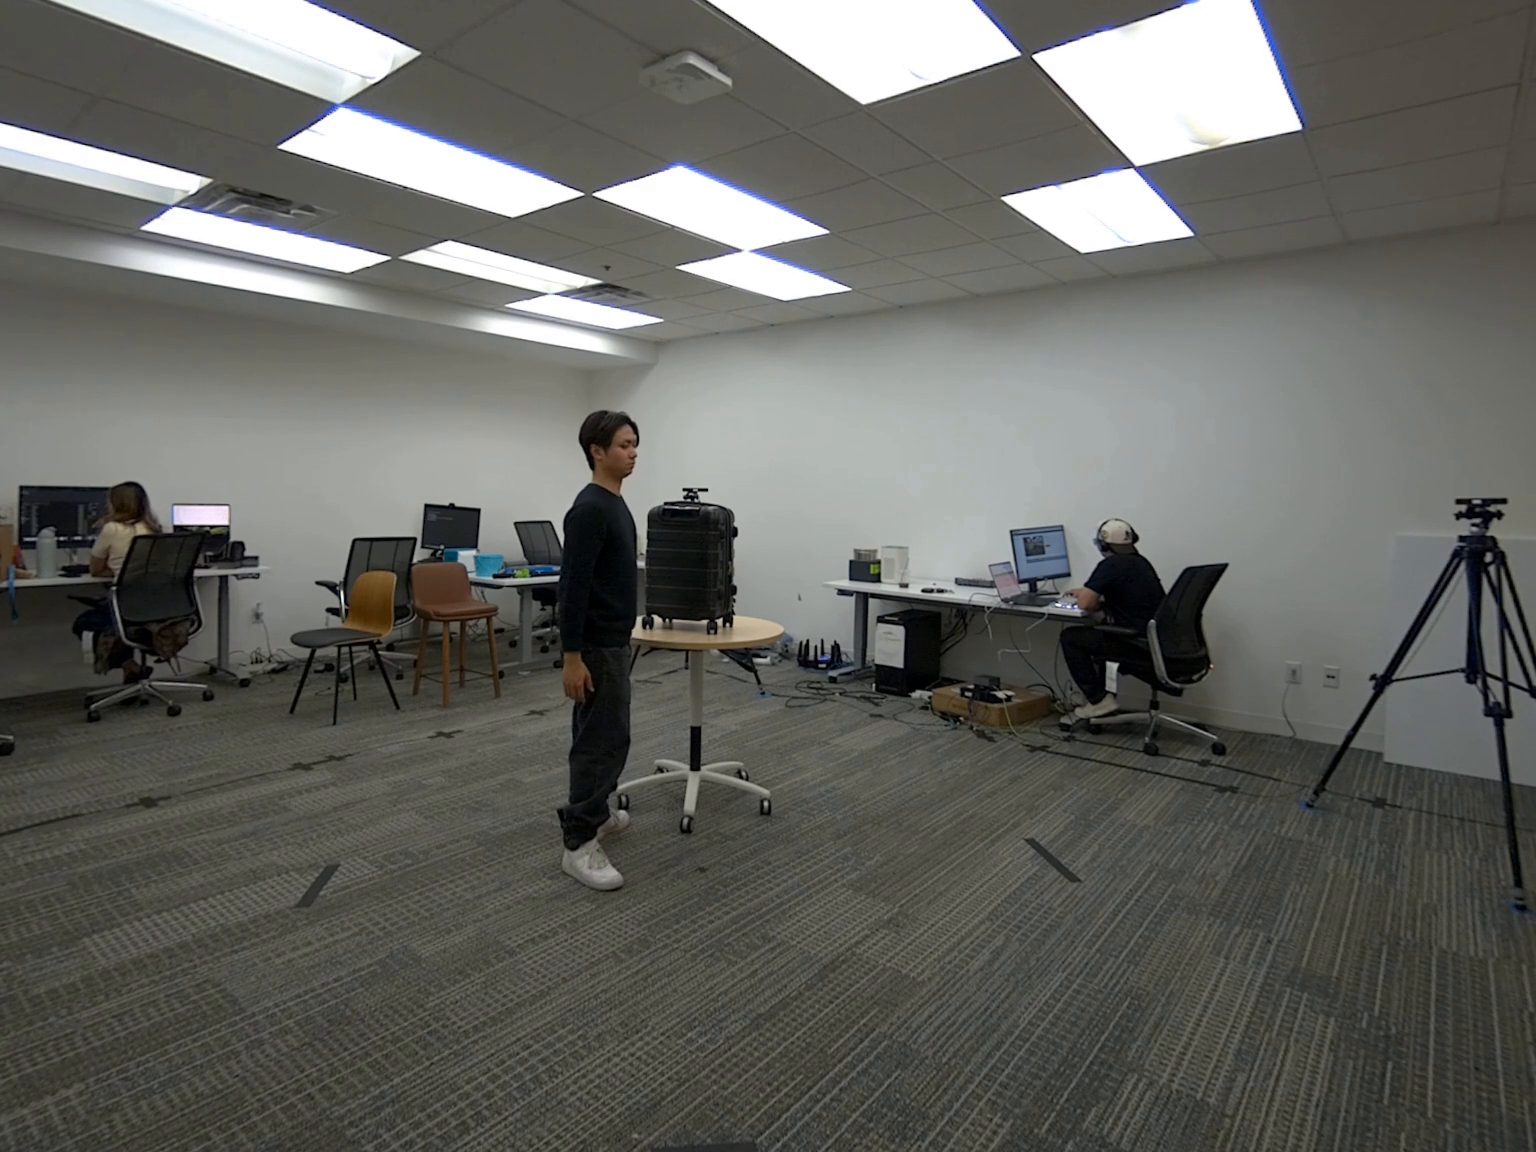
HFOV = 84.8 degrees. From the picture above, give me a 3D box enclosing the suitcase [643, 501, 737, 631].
[{"bbox_3d":[-0.354,-0.054,3.734,0.383,0.548,0.243,2,2,20],"label":"suitcase"}]
